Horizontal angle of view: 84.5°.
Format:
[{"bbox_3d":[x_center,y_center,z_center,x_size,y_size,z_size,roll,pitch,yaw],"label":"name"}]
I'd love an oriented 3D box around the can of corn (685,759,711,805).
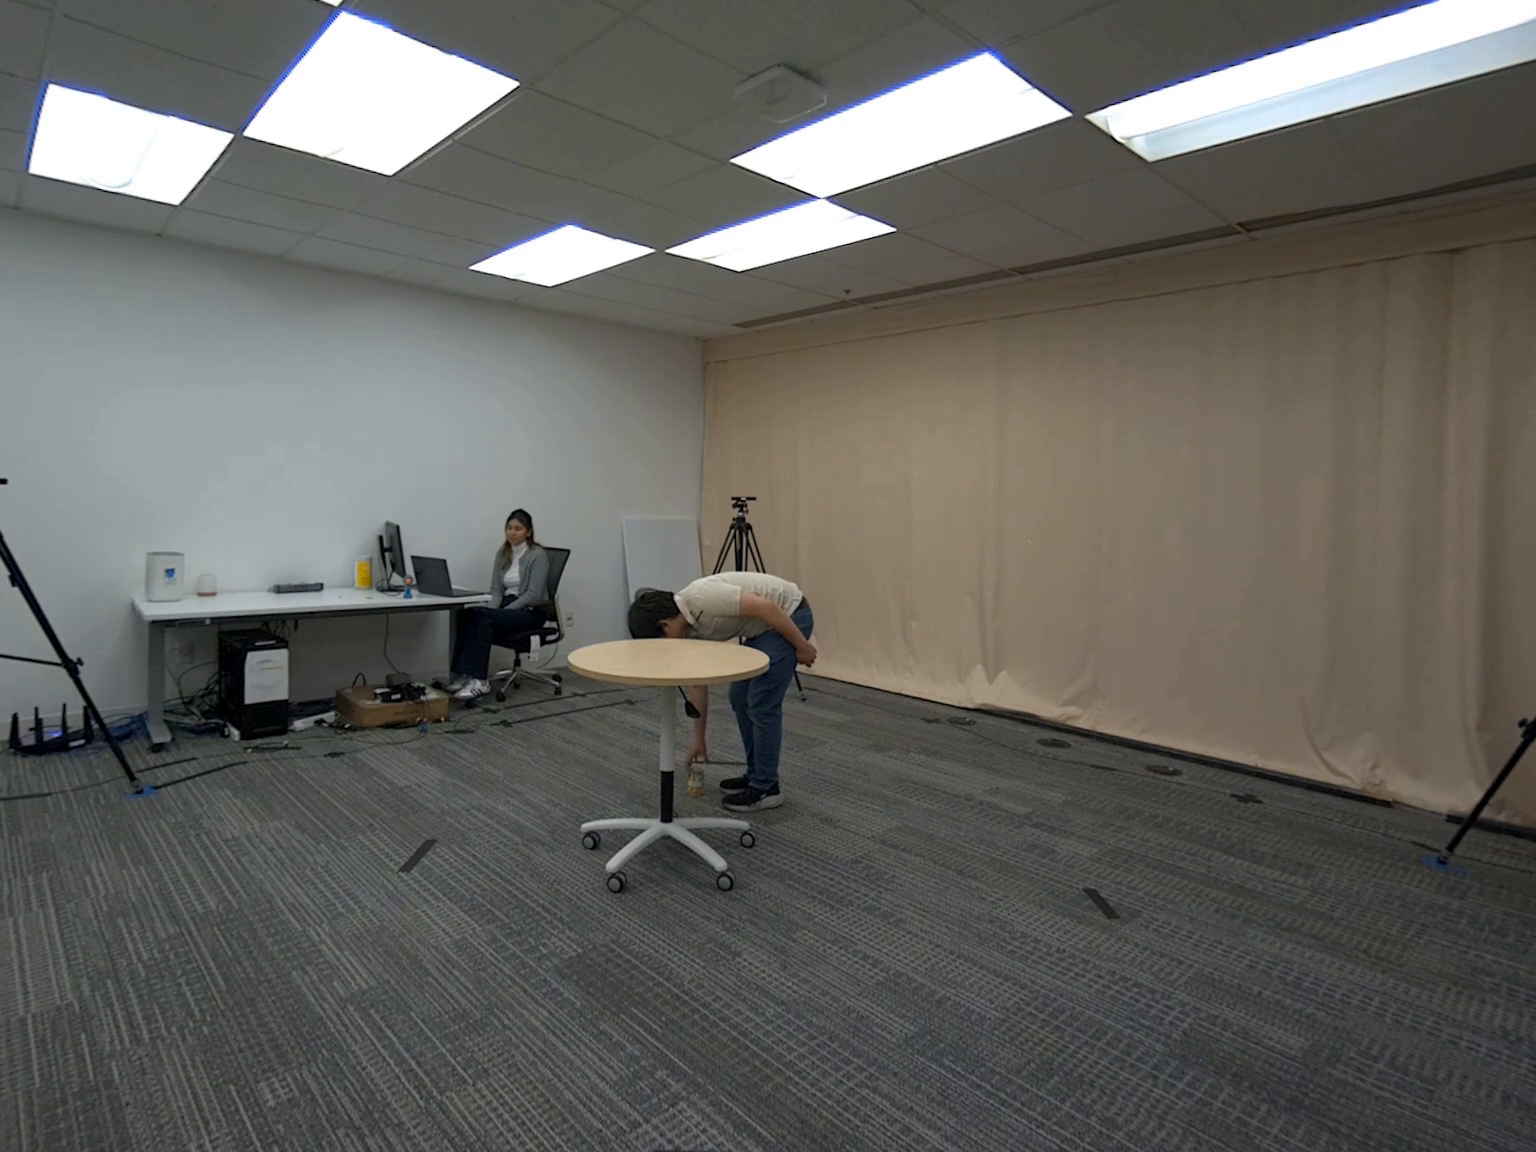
[{"bbox_3d":[-0.345,0.965,3.972,0.074,0.110,0.074,2,6,-2],"label":"can of corn"}]
